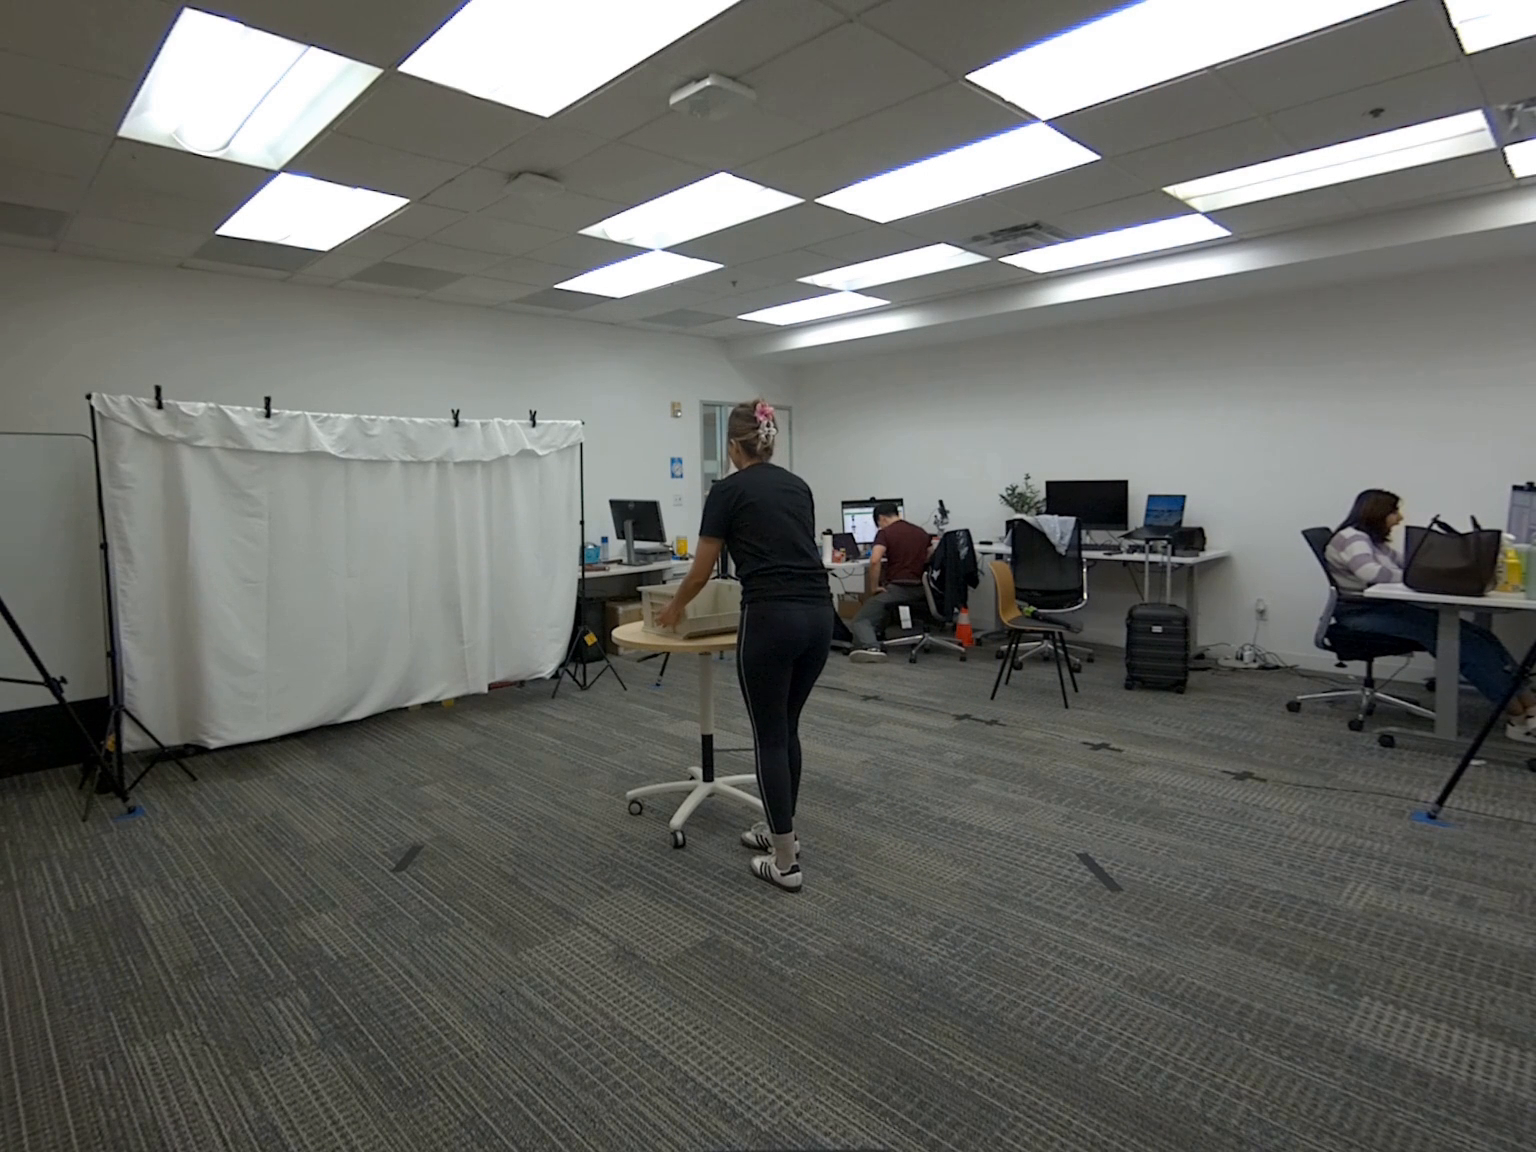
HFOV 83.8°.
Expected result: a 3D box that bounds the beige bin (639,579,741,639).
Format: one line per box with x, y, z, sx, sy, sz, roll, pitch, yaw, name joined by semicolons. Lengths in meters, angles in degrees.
-0.264;0.137;3.526;0.412;0.188;0.388;-7;6;-37;beige bin
